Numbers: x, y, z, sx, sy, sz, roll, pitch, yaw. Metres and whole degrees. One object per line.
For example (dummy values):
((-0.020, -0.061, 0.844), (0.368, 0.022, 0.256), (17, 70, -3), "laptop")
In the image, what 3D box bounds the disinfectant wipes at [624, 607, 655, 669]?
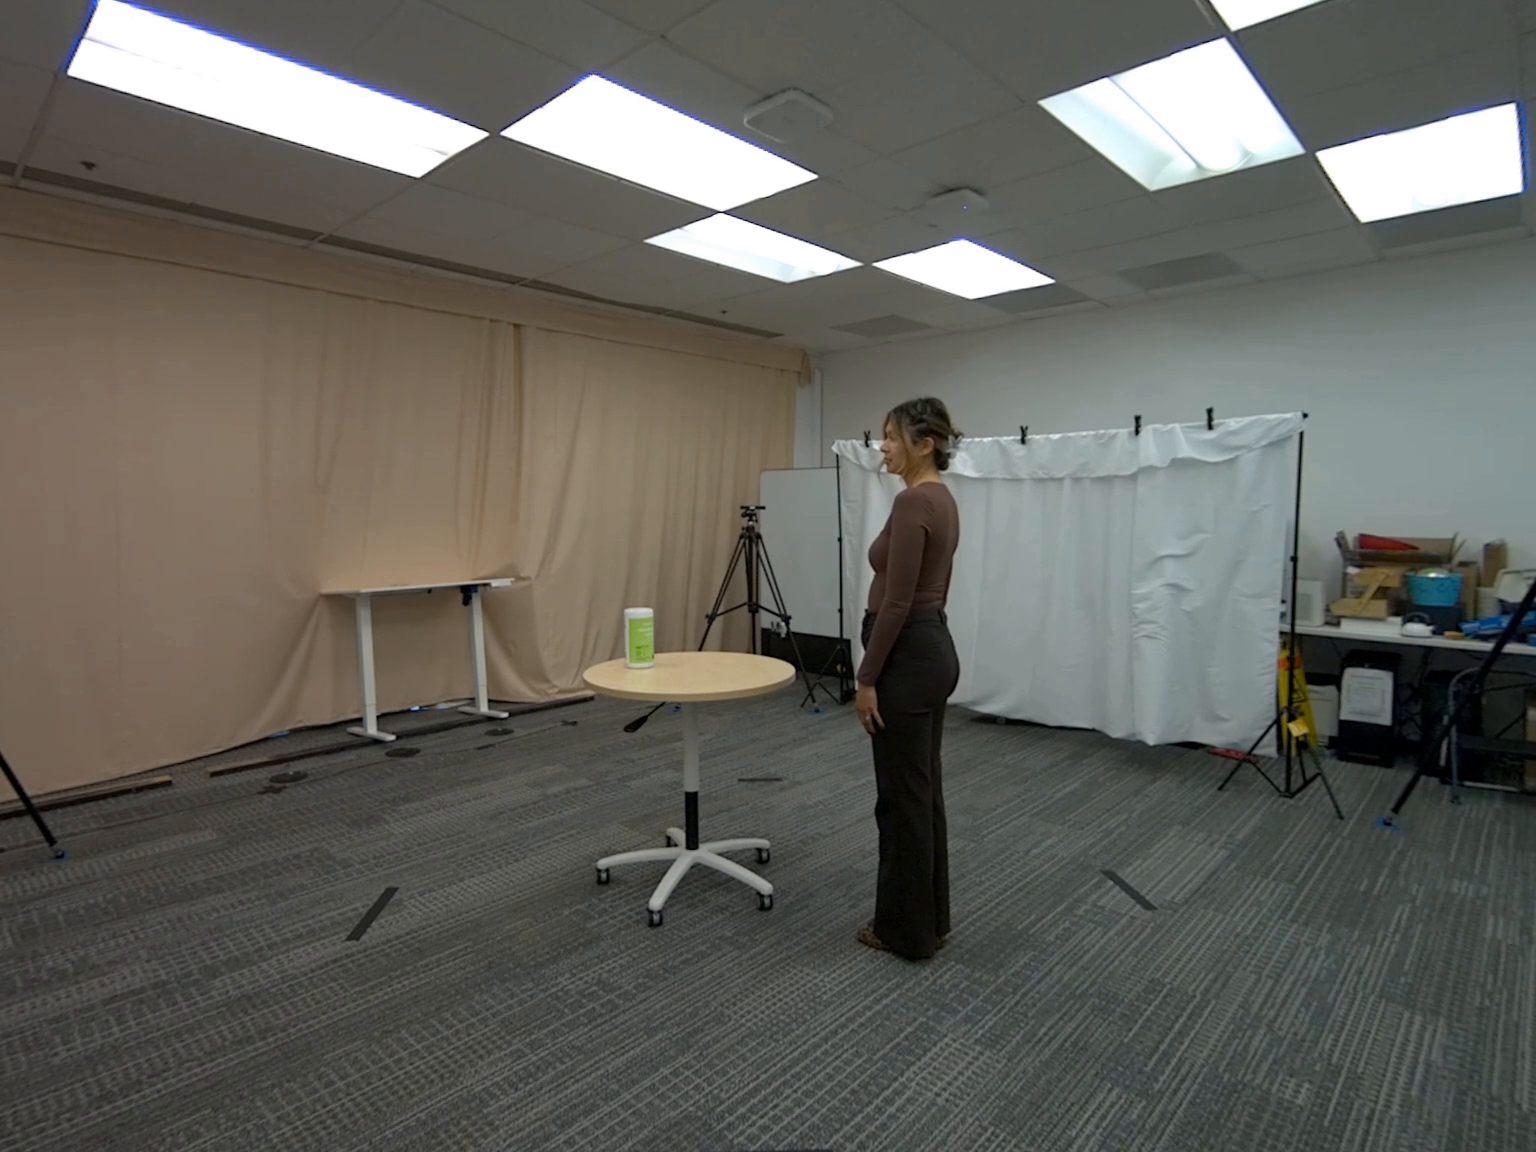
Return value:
((-0.483, 0.229, 3.147), (0.118, 0.217, 0.118), (0, 2, -2), "disinfectant wipes")
